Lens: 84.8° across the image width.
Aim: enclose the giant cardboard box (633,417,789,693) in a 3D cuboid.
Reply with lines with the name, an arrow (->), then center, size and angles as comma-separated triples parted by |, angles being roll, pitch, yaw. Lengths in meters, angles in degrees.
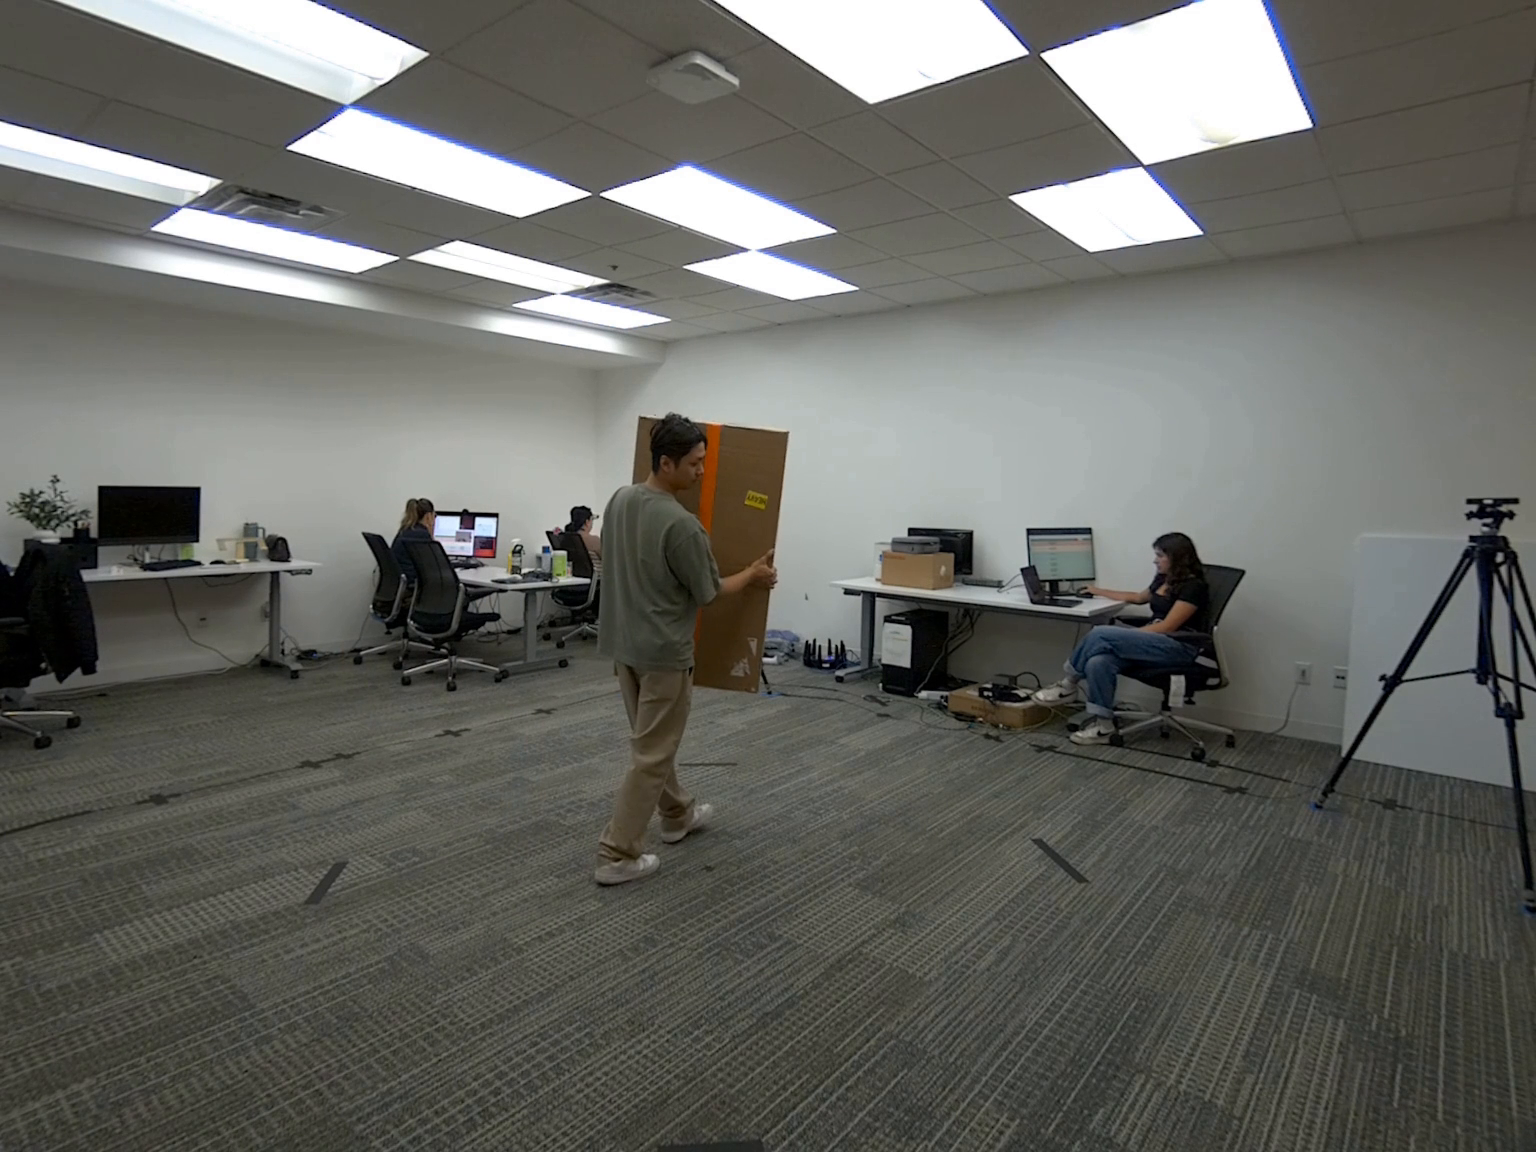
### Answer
giant cardboard box -> -0.271, -0.112, 3.465 | 0.579, 1.019, 0.428 | 7, 8, 2
